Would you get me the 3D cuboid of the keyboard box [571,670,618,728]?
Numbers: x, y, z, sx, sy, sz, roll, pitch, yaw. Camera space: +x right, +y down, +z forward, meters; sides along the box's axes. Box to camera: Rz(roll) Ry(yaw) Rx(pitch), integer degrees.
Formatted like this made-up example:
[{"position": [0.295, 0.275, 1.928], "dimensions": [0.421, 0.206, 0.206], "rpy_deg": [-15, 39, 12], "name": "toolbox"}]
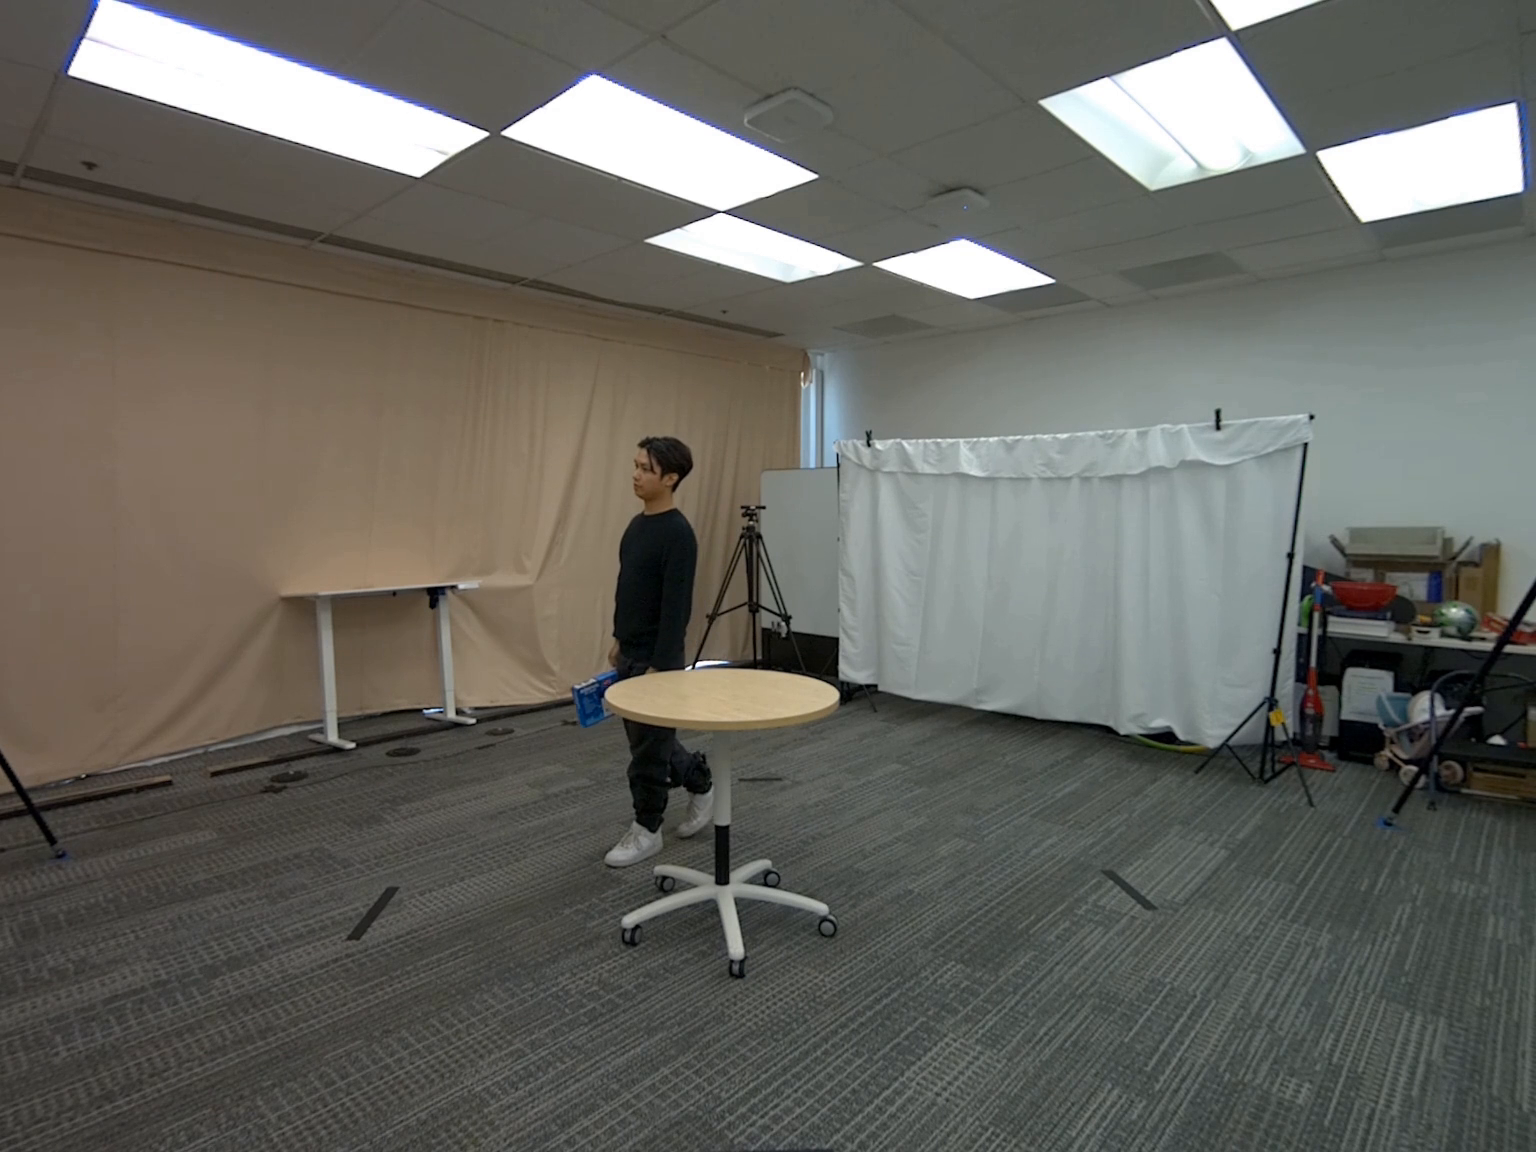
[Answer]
[{"position": [-0.631, 0.488, 3.621], "dimensions": [0.427, 0.174, 0.061], "rpy_deg": [-20, 15, -36], "name": "keyboard box"}]
